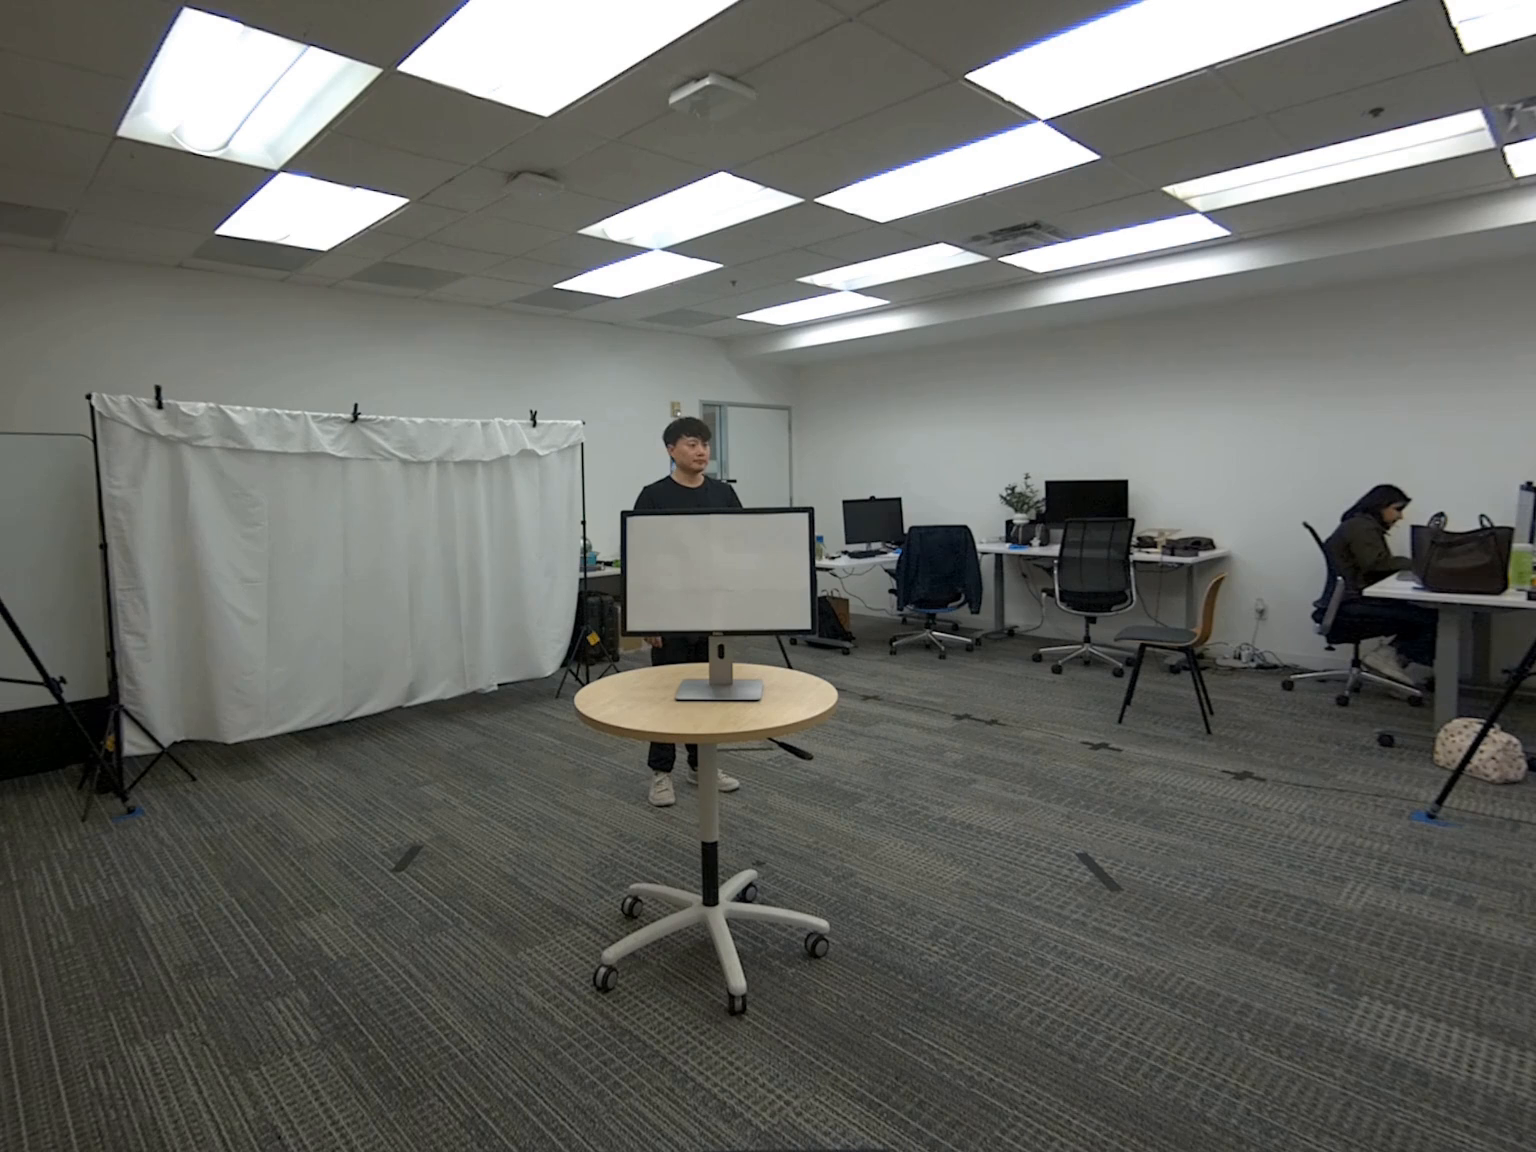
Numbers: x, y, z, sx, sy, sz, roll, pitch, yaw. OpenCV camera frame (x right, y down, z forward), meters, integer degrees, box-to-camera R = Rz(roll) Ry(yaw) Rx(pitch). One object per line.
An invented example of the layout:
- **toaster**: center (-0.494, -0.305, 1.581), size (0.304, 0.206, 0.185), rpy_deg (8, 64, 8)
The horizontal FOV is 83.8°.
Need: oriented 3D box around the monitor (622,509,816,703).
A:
- **monitor**: center (-0.147, 0.081, 2.488), size (0.540, 0.520, 0.187), rpy_deg (-1, 5, 3)
